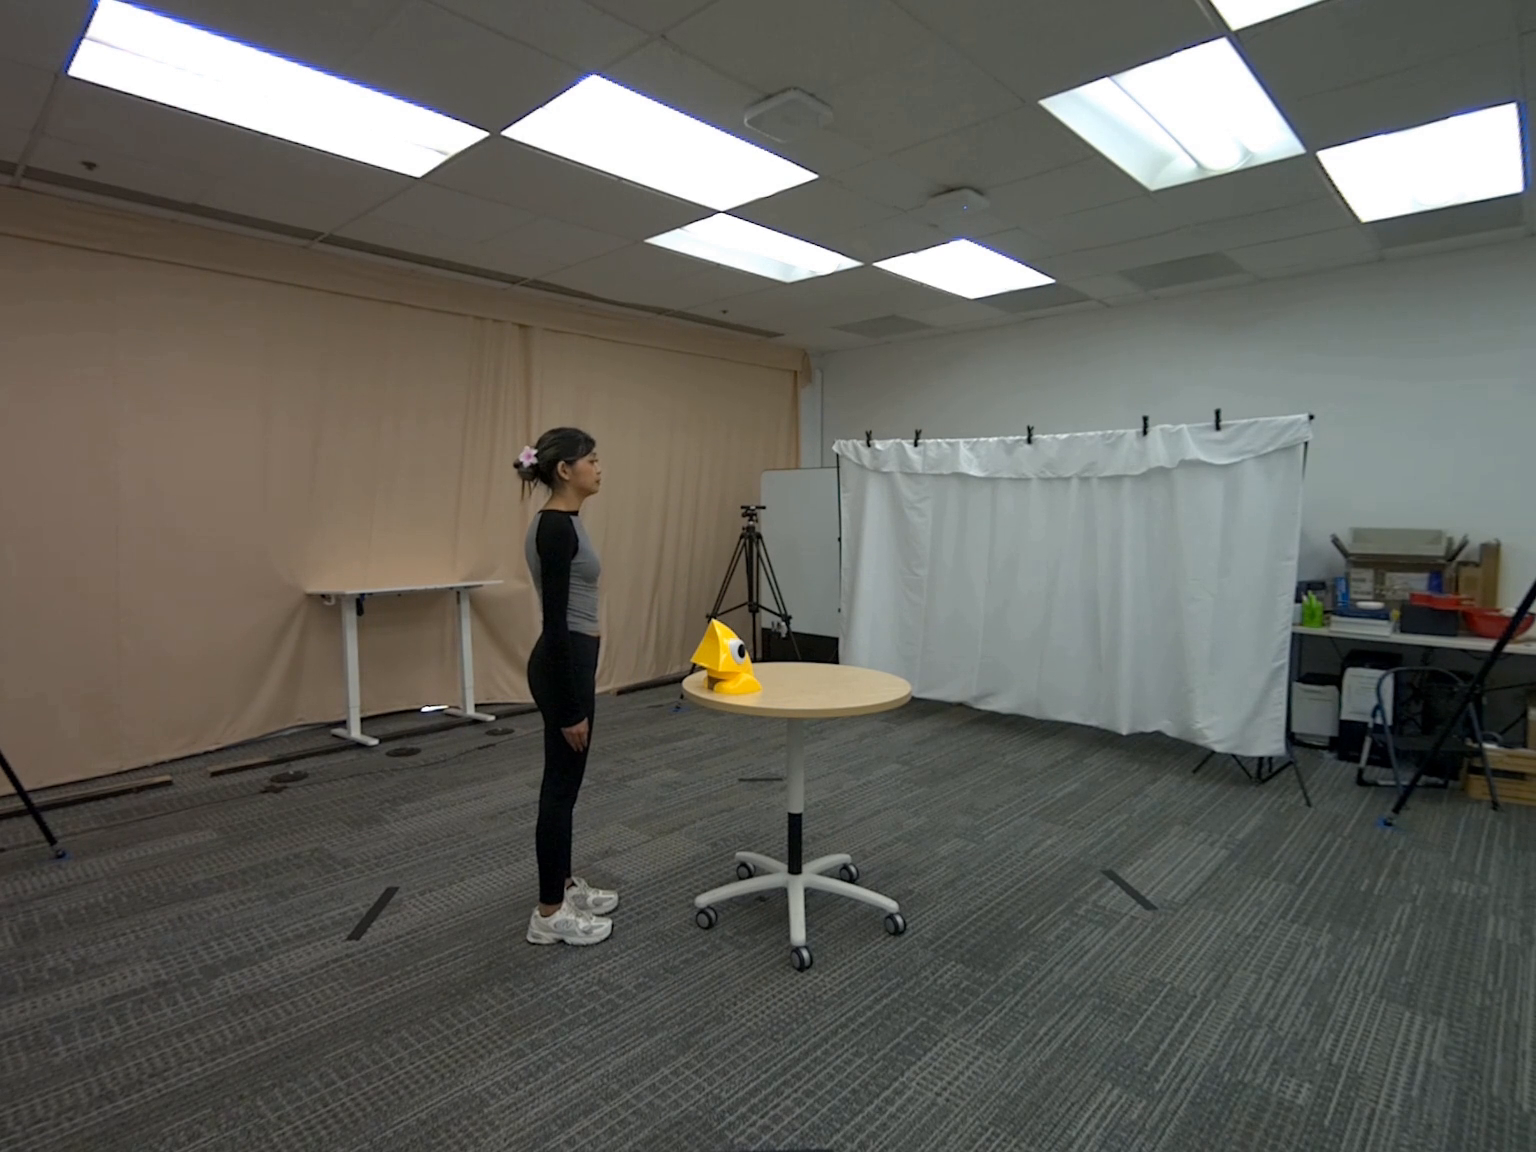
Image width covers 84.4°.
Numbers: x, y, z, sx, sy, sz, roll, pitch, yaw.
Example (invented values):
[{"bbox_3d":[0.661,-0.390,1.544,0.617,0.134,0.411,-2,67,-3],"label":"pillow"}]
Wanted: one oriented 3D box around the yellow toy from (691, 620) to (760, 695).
[{"bbox_3d":[-0.127,0.254,2.756,0.188,0.230,0.211,-1,3,-30],"label":"yellow toy"}]
